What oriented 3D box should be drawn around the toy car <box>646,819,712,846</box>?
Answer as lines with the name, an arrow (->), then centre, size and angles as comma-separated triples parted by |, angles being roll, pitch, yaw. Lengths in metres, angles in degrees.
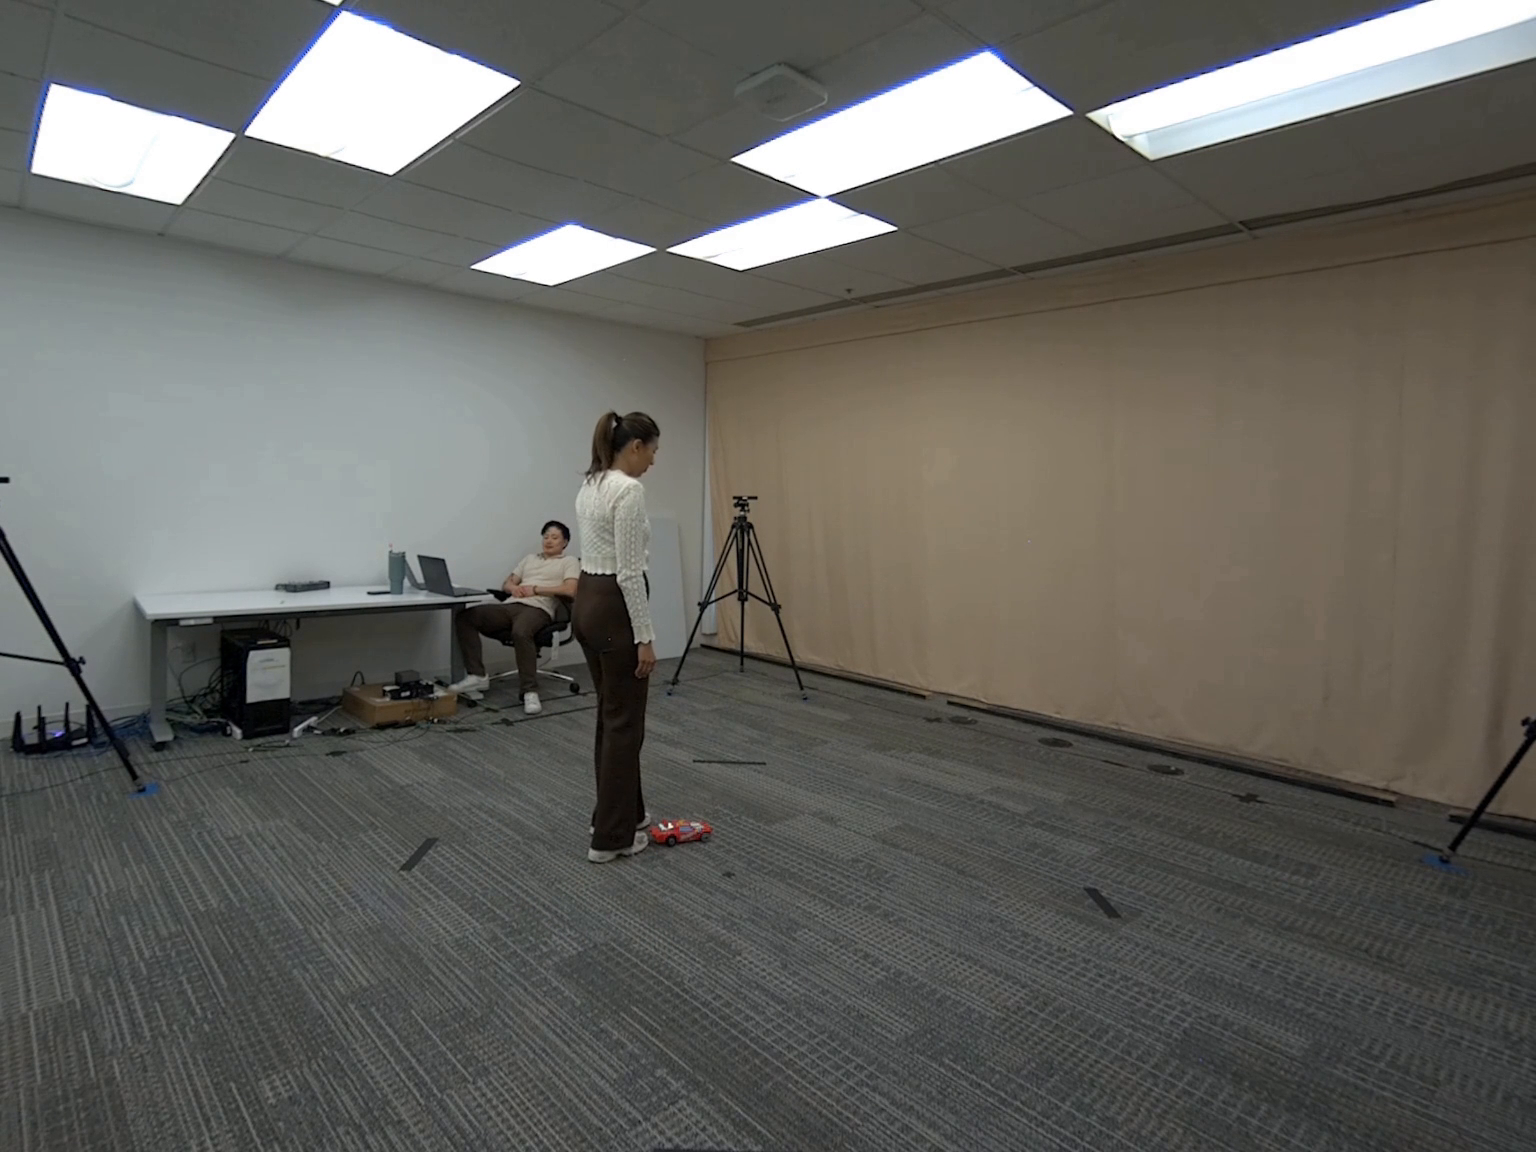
toy car -> -0.369, 1.039, 3.408 | 0.249, 0.083, 0.133 | 11, 0, -24
